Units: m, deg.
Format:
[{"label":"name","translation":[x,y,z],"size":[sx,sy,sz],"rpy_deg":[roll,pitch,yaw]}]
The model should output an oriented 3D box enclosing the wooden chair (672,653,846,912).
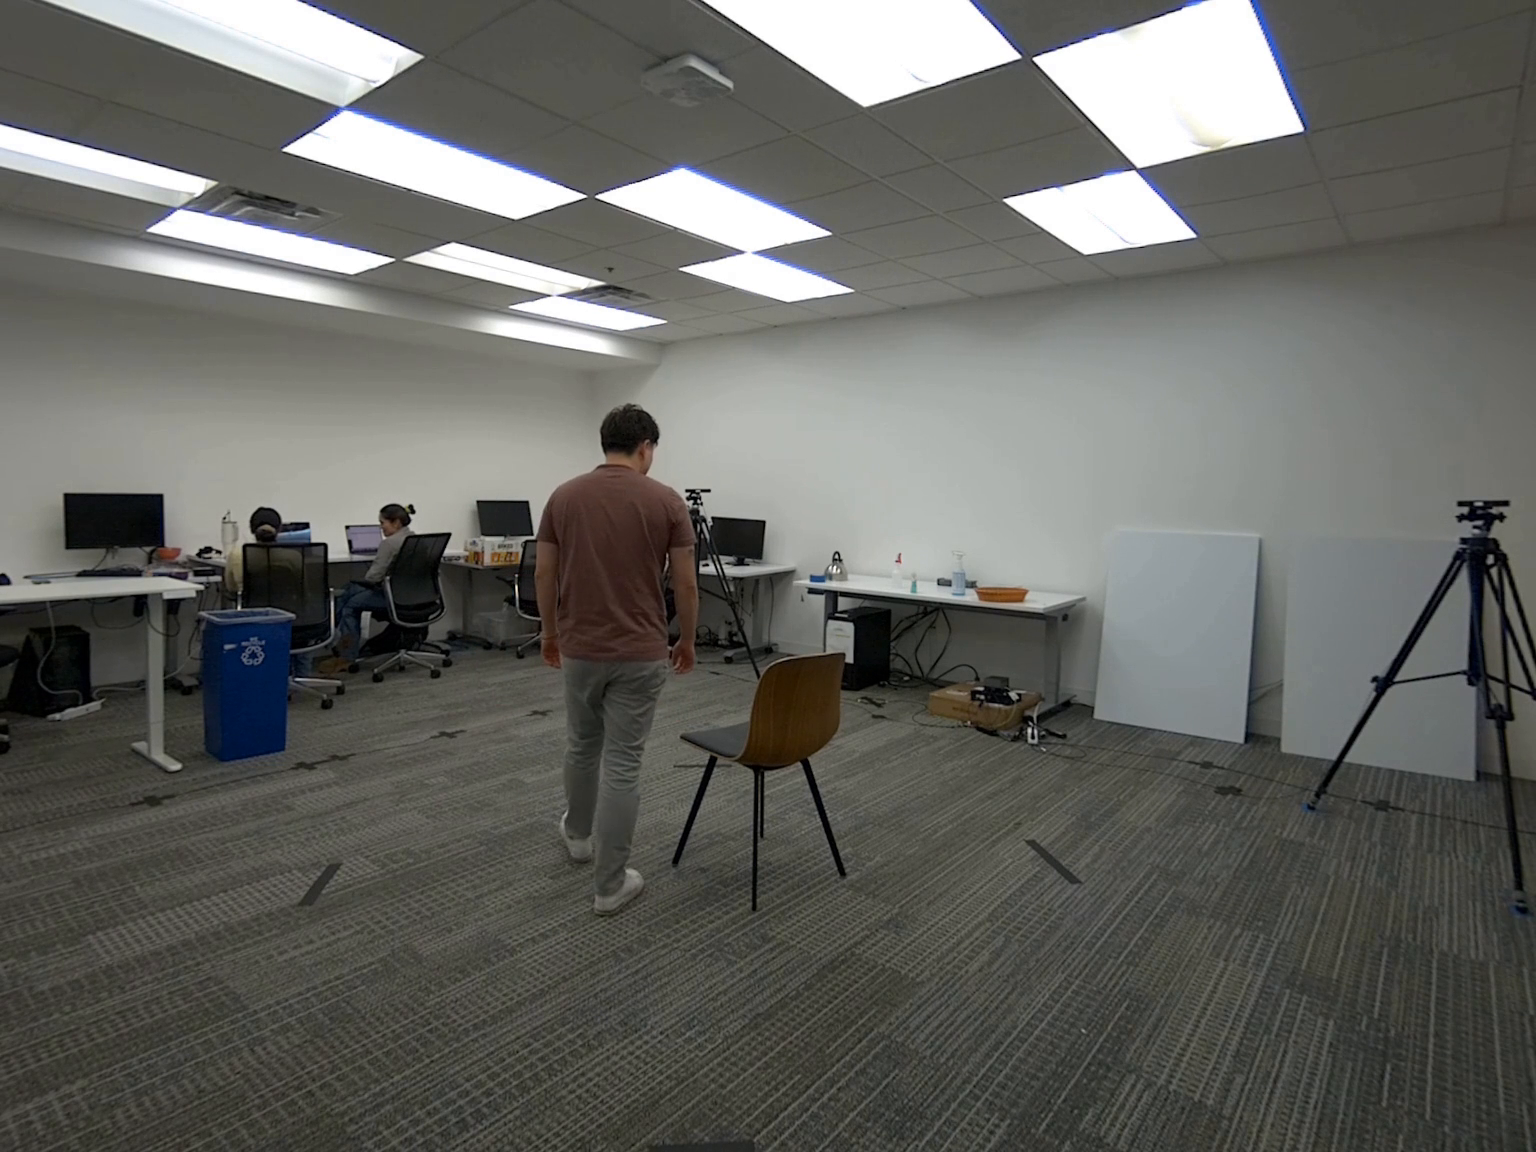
[{"label":"wooden chair","translation":[-0.039,0.653,3.098],"size":[0.463,0.873,0.542],"rpy_deg":[-1,8,-41]}]
